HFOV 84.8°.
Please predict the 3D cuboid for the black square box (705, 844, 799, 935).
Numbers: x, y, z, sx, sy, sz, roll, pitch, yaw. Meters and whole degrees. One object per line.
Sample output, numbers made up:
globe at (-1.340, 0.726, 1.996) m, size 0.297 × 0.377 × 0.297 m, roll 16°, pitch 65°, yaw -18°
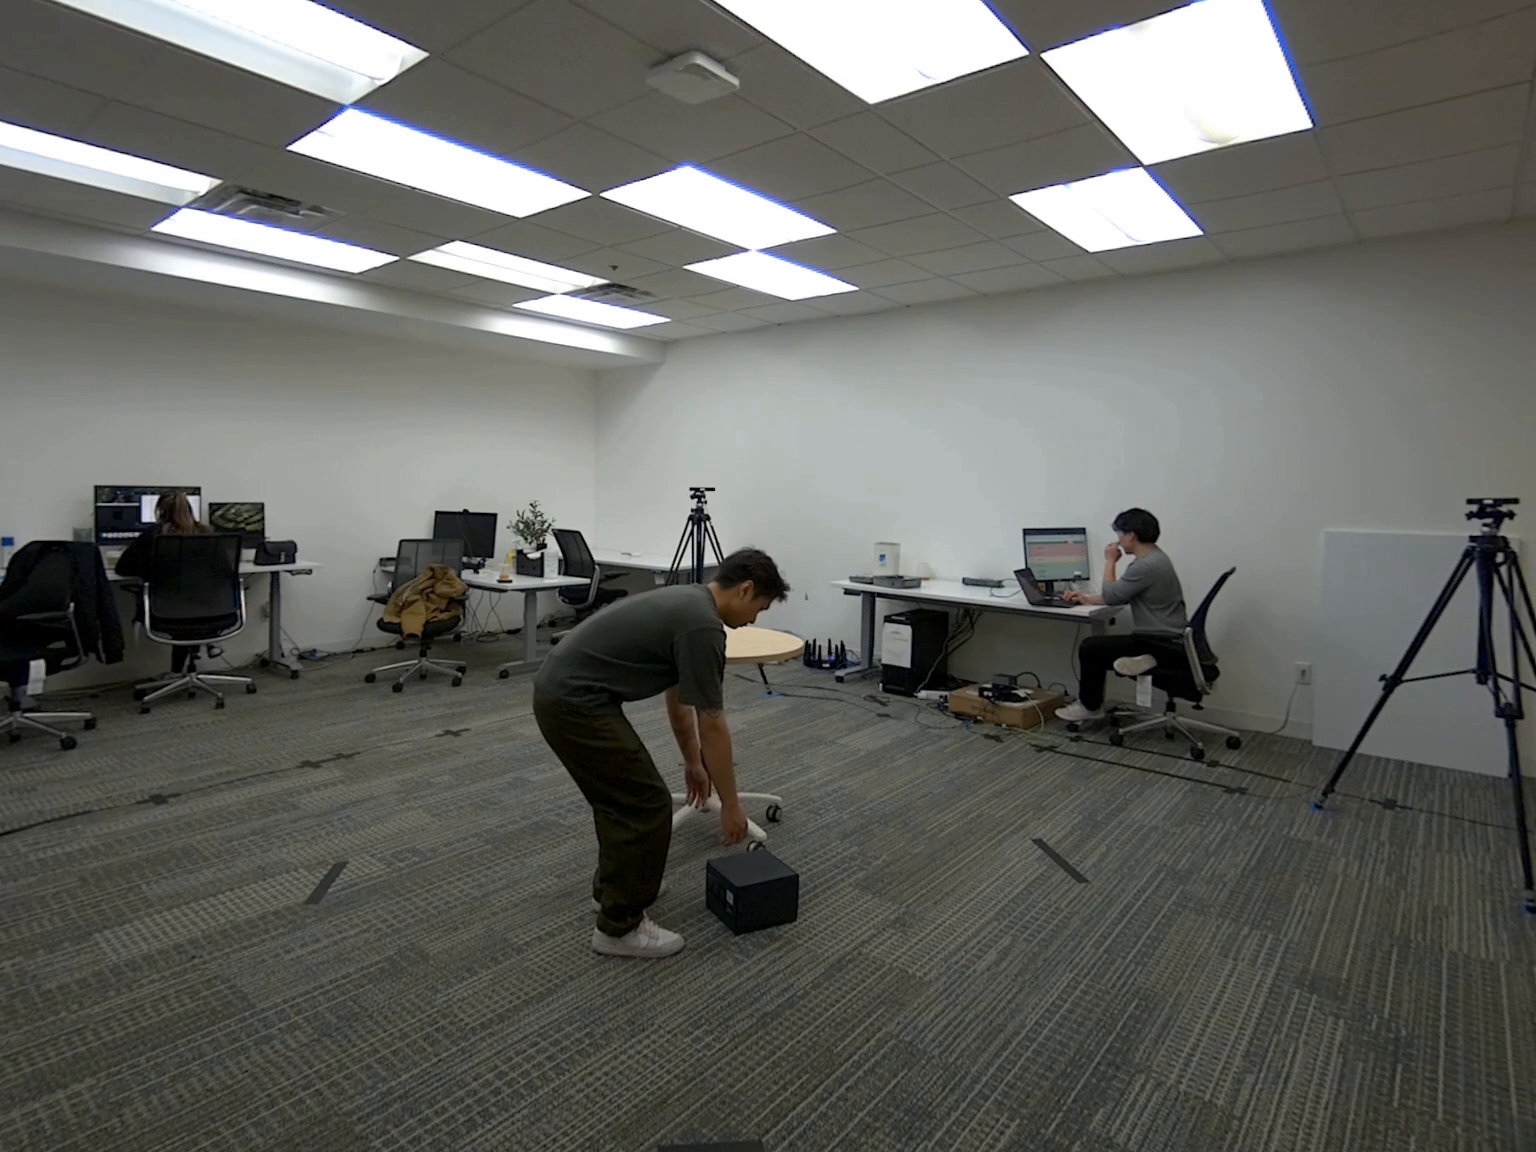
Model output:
black square box at (-0.061, 1.020, 2.771) m, size 0.222 × 0.155 × 0.223 m, roll 0°, pitch 4°, yaw -30°
